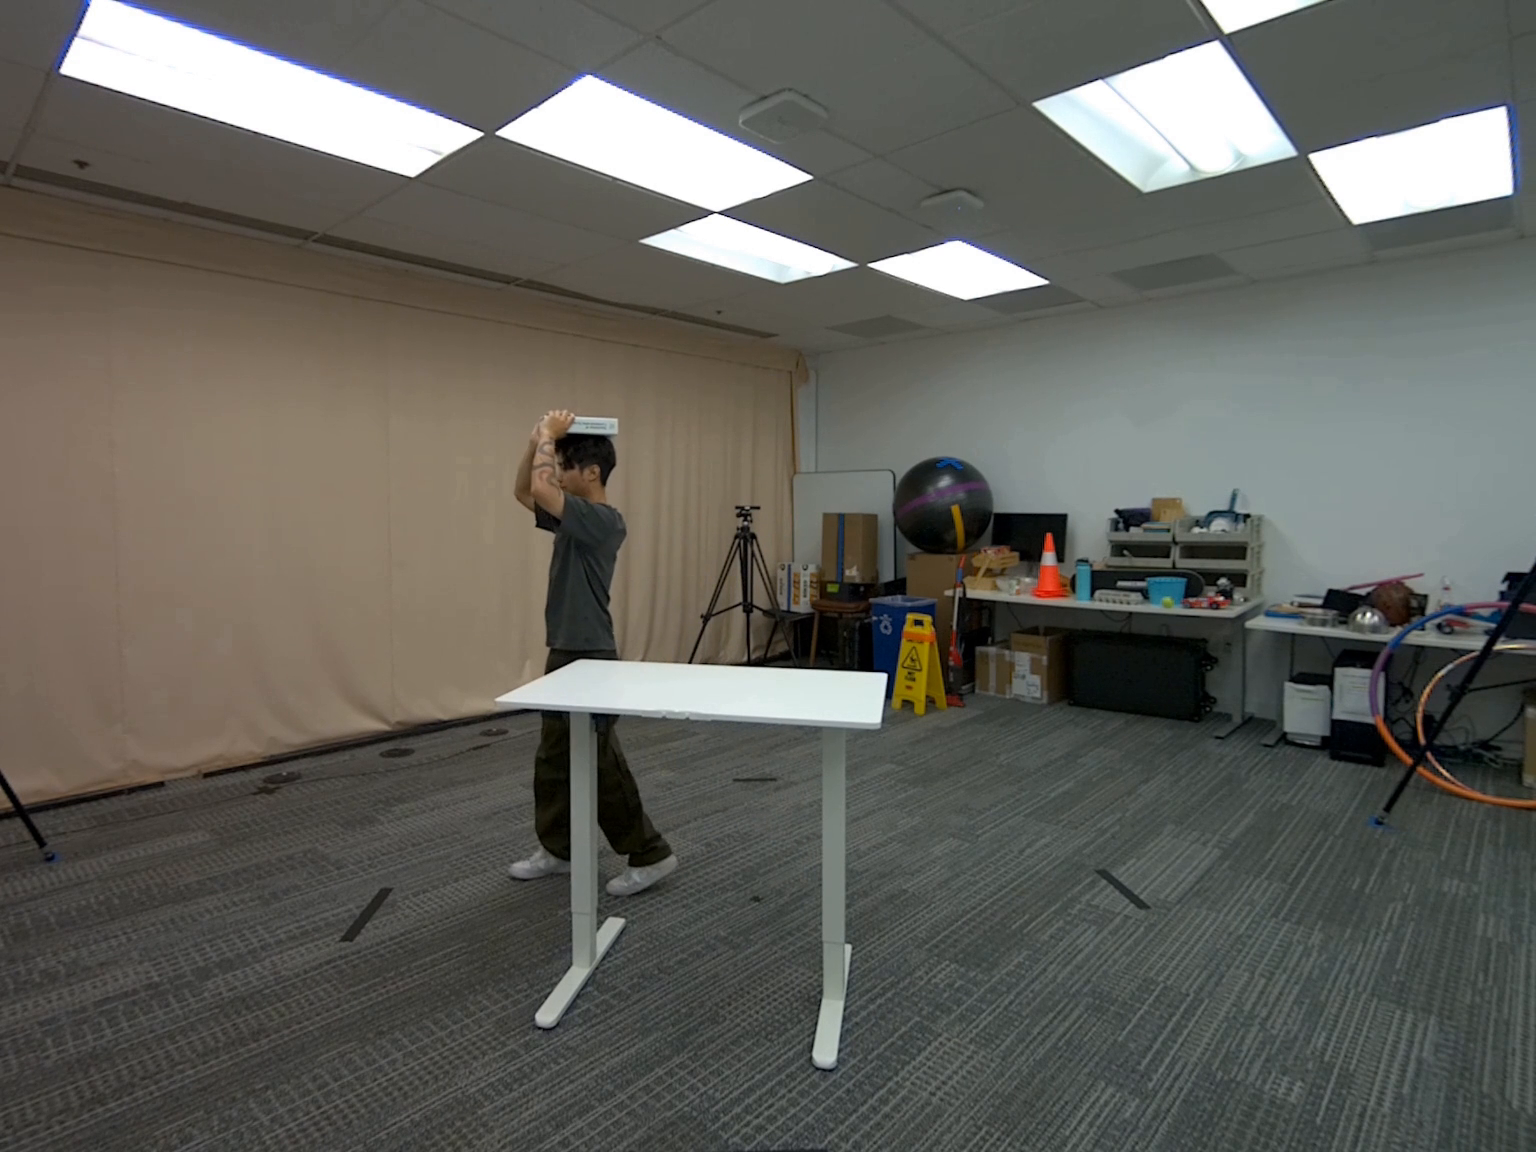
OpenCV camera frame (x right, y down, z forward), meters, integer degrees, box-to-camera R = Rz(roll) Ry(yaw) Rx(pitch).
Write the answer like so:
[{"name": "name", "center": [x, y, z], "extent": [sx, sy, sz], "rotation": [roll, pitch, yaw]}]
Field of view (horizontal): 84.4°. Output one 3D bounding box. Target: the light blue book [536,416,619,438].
[{"name": "light blue book", "center": [-0.695, -0.543, 3.069], "extent": [0.256, 0.059, 0.195], "rotation": [-2, 4, -17]}]
